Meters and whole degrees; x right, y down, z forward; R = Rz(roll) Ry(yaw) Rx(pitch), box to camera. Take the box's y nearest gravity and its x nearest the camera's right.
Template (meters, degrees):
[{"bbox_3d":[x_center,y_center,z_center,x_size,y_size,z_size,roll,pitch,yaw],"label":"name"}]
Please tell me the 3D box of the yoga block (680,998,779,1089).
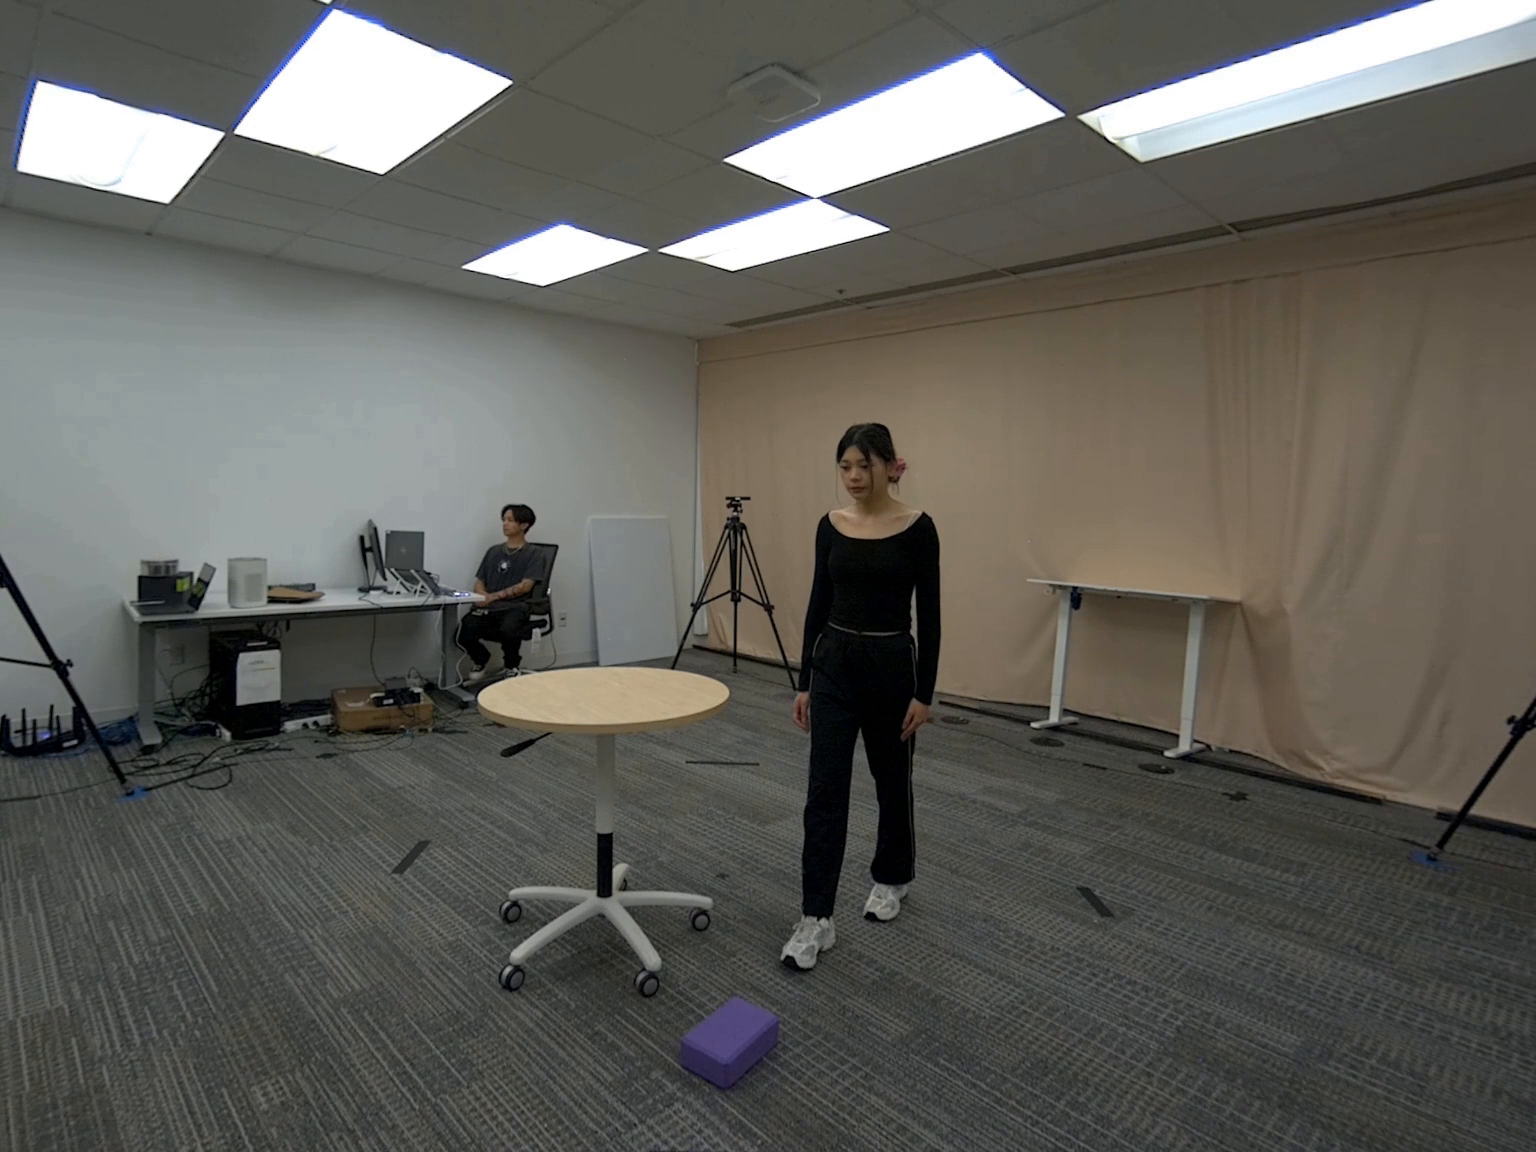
[{"bbox_3d":[-0.100,1.163,2.096,0.152,0.076,0.224,6,7,35],"label":"yoga block"}]
